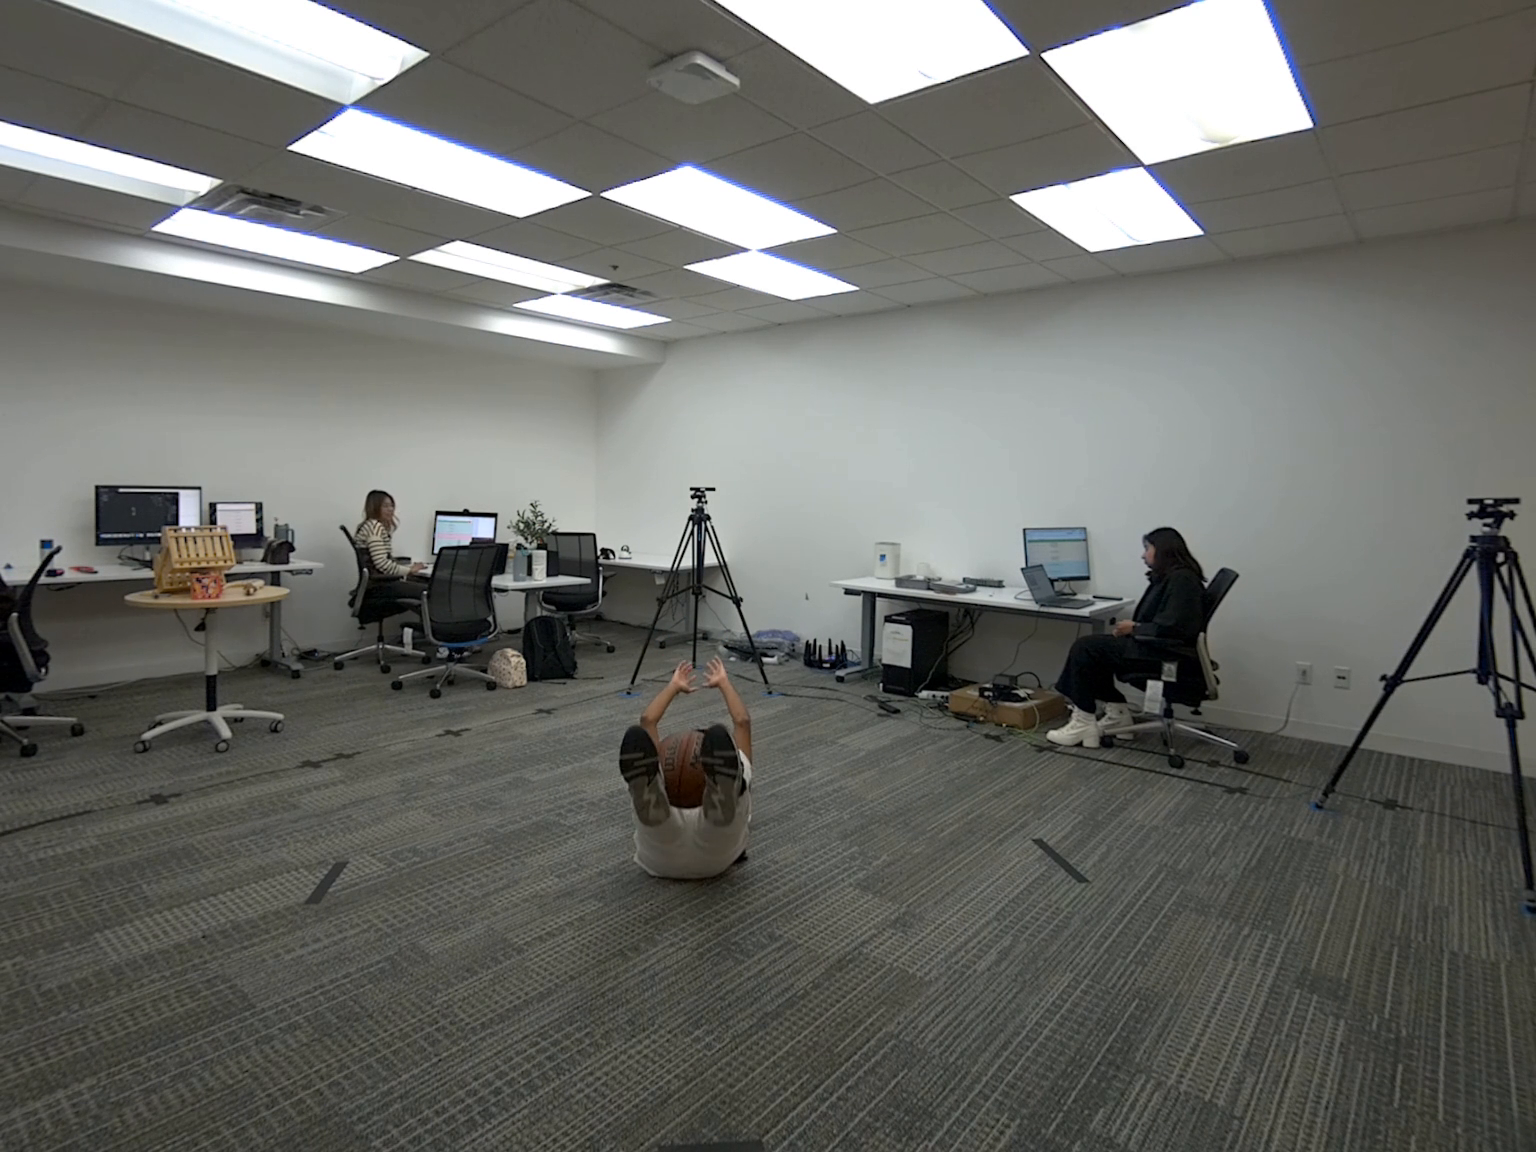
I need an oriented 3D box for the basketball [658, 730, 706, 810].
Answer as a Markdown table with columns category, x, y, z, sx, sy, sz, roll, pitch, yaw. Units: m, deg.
| category | x | y | z | sx | sy | sz | roll | pitch | yaw |
| --- | --- | --- | --- | --- | --- | --- | --- | --- | --- |
| basketball | -0.261 | 0.605 | 2.679 | 0.235 | 0.235 | 0.237 | 1 | 4 | -2 |
